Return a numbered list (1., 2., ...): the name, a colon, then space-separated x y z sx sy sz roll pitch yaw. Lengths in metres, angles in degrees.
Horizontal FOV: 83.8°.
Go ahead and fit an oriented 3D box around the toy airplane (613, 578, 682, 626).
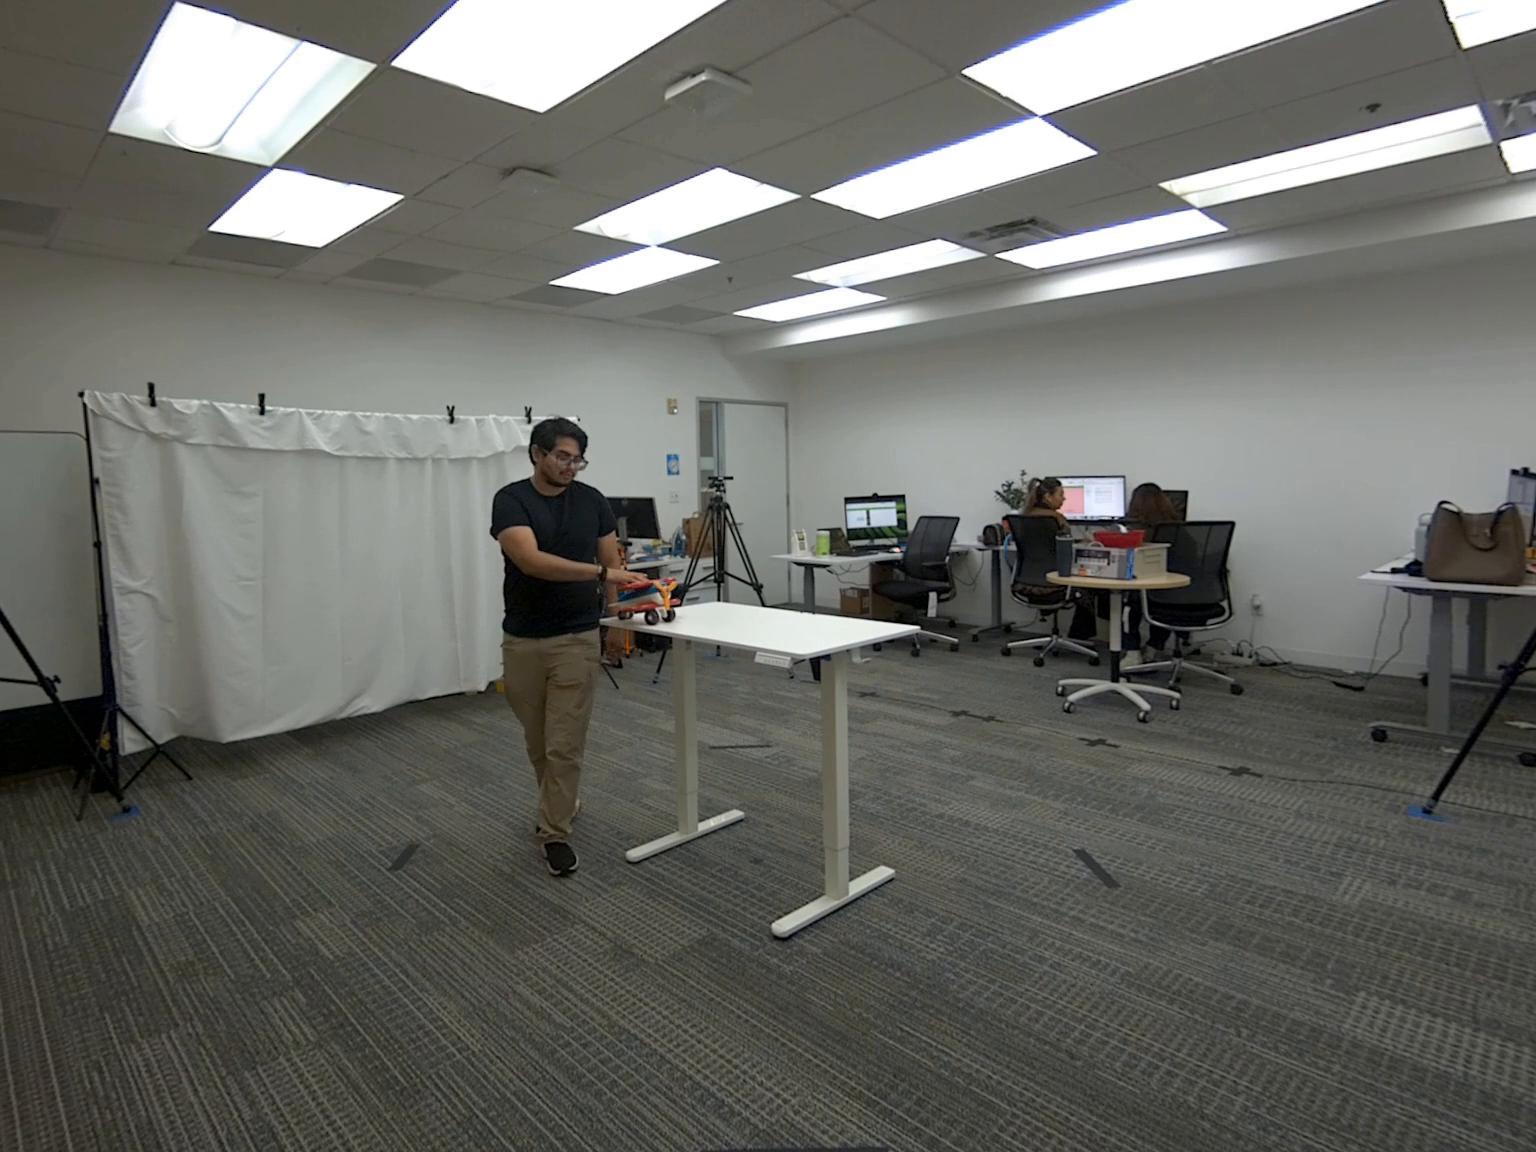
1. toy airplane: -0.459 0.090 3.069 0.262 0.156 0.249 1 5 10
